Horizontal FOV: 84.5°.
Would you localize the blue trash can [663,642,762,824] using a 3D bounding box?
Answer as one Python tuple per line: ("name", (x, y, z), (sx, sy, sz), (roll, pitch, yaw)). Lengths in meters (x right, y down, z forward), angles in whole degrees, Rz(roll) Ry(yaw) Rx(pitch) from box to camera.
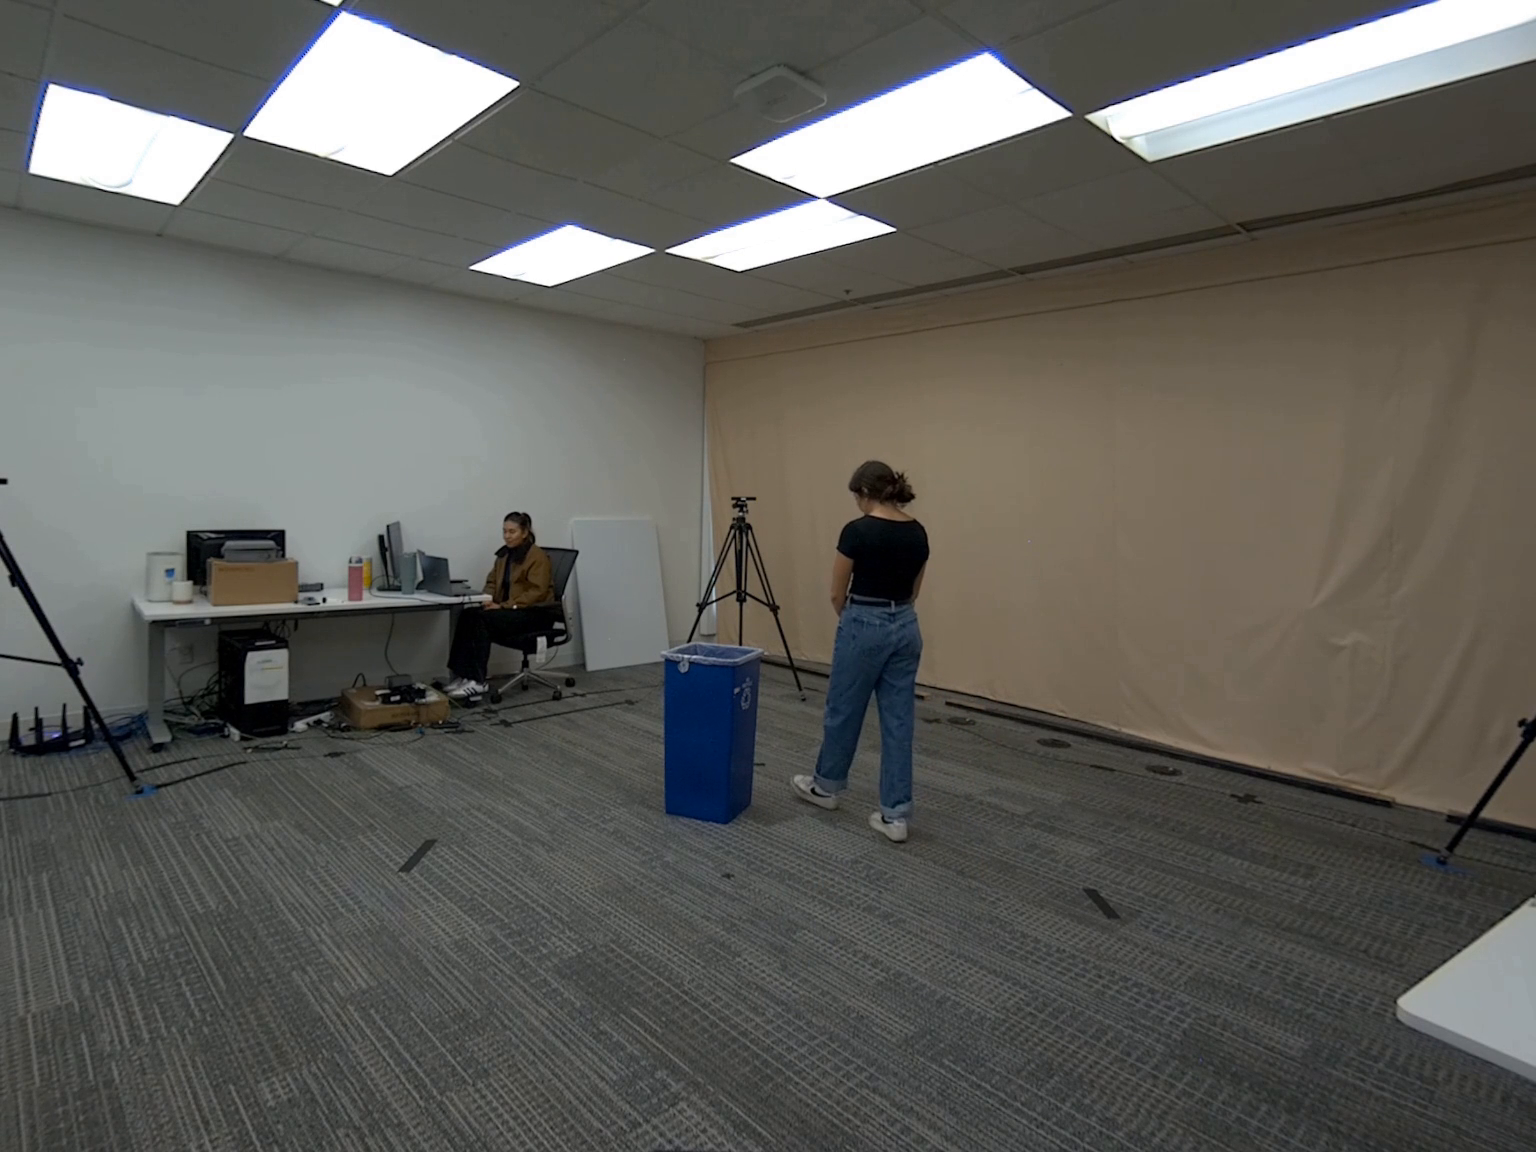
("blue trash can", (-0.263, 0.690, 3.779), (0.384, 0.712, 0.369), (3, 4, 21))
